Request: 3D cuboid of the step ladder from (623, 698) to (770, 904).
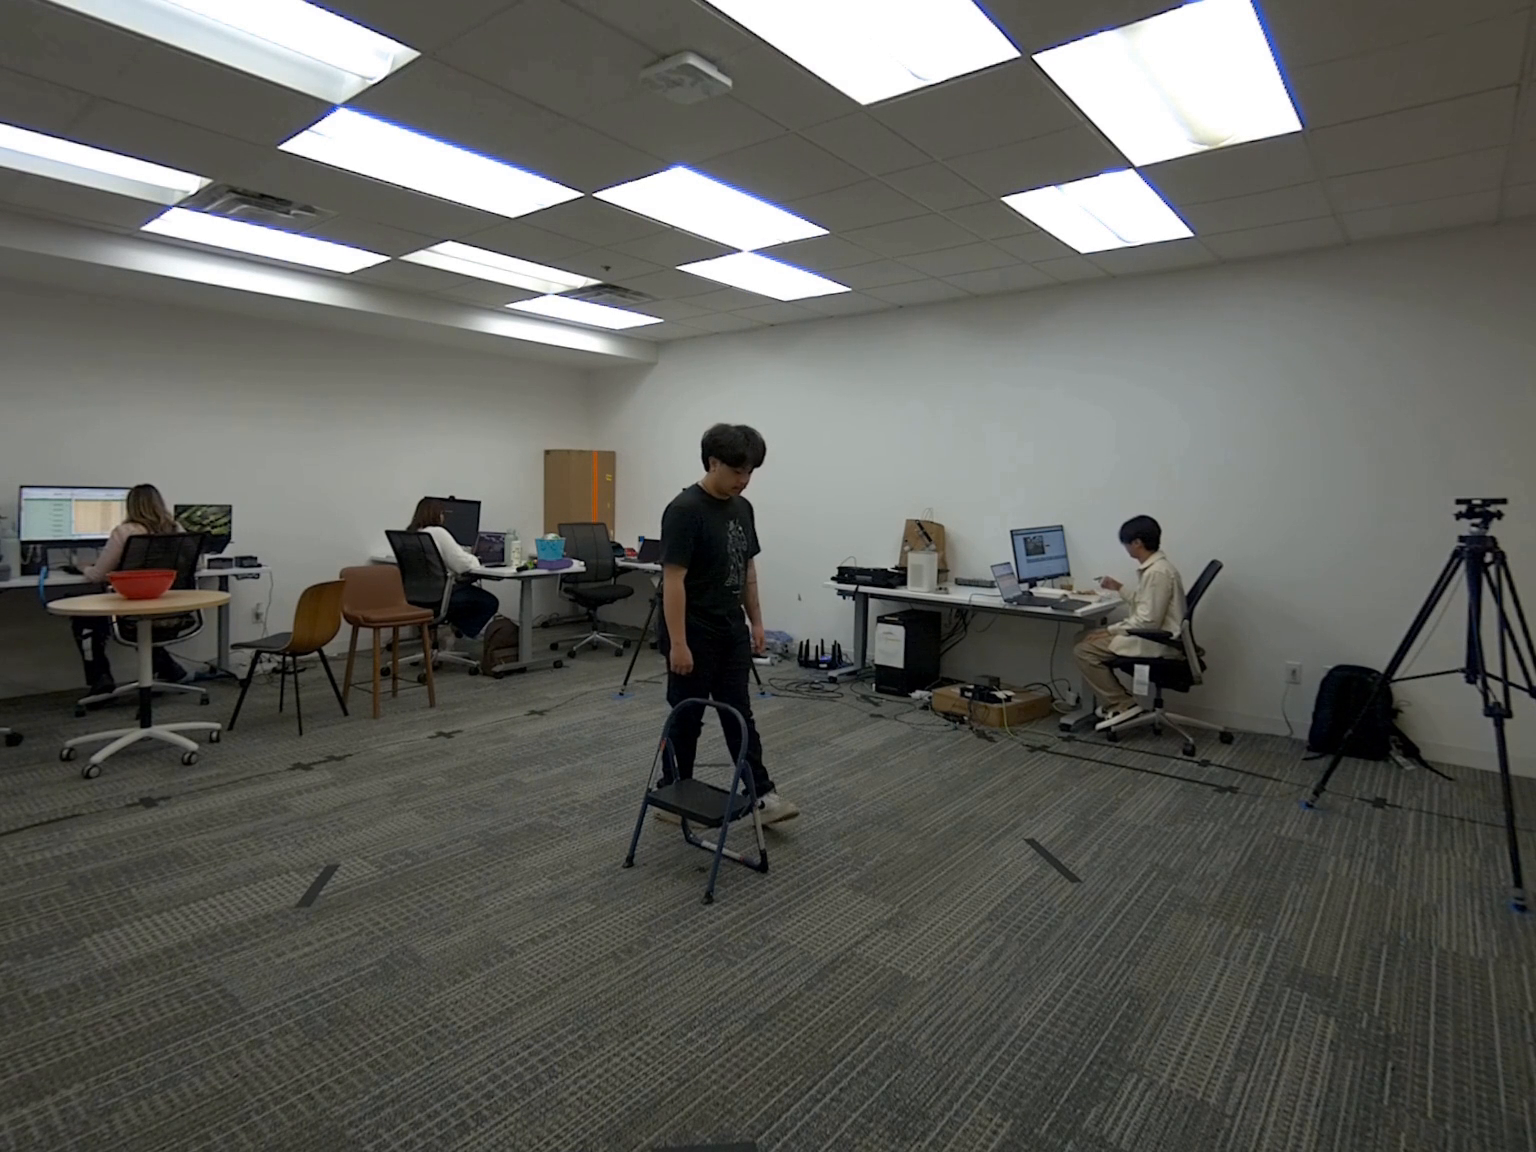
[{"bbox_3d":[-0.267,0.767,3.096,0.445,0.604,0.339,4,4,39],"label":"step ladder"}]
